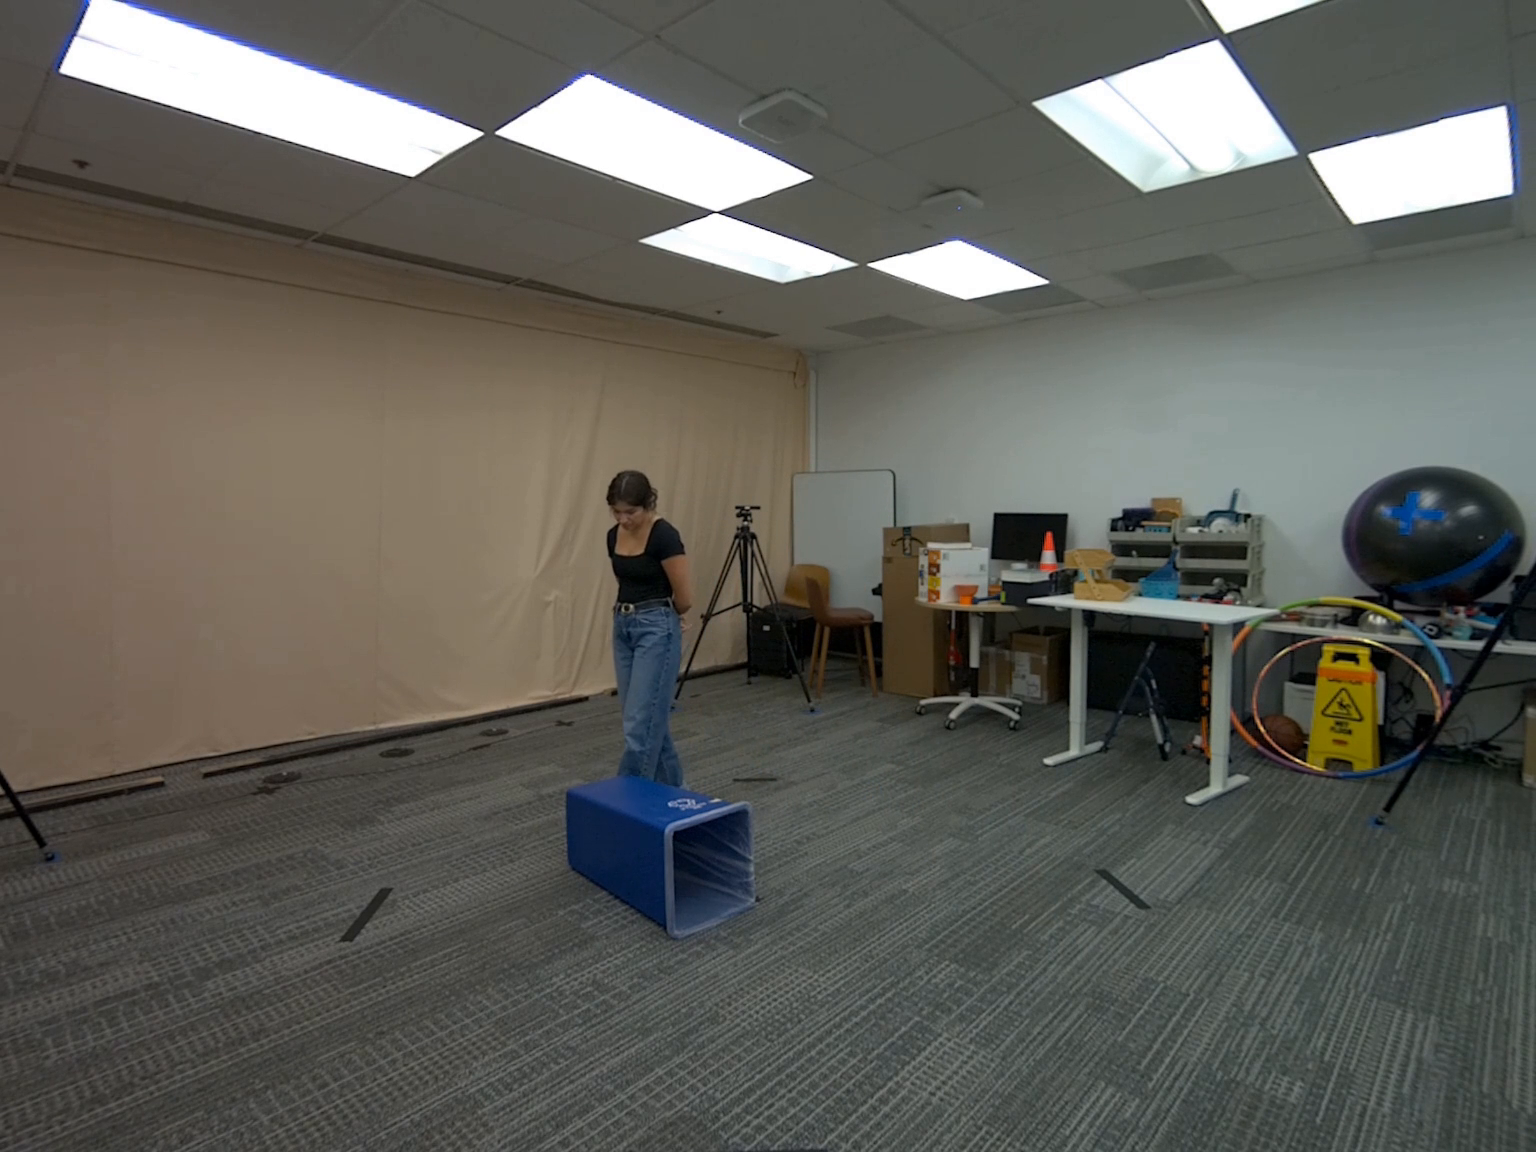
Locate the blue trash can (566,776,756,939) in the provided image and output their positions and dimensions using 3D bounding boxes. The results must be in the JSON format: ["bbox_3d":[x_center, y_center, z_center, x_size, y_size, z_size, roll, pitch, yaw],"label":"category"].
[{"bbox_3d":[-0.423,0.974,3.072,0.362,0.378,0.736,-4,2,-42],"label":"blue trash can"}]
